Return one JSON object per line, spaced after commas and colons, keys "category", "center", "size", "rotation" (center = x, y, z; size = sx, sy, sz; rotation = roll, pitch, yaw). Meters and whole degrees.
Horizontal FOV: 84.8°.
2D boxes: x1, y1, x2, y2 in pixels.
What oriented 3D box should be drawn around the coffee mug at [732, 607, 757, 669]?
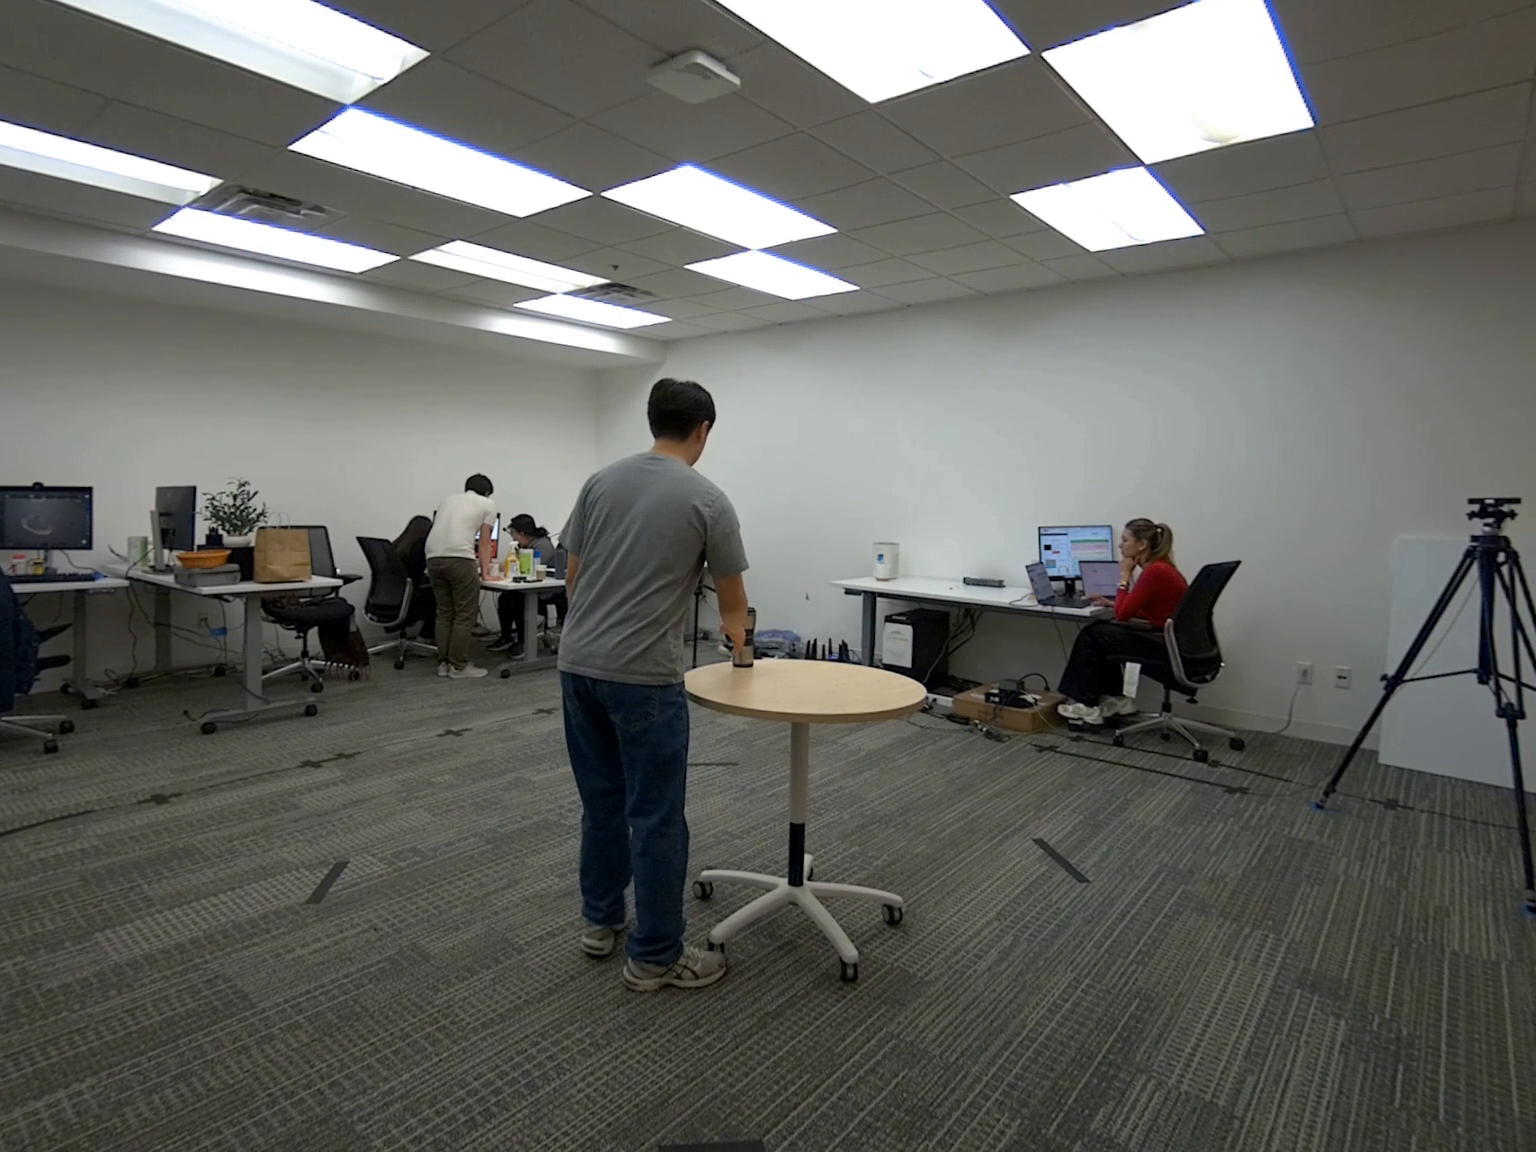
{"category": "coffee mug", "center": [-0.110, 0.207, 2.900], "size": [0.119, 0.202, 0.090], "rotation": [3, 5, -22]}
